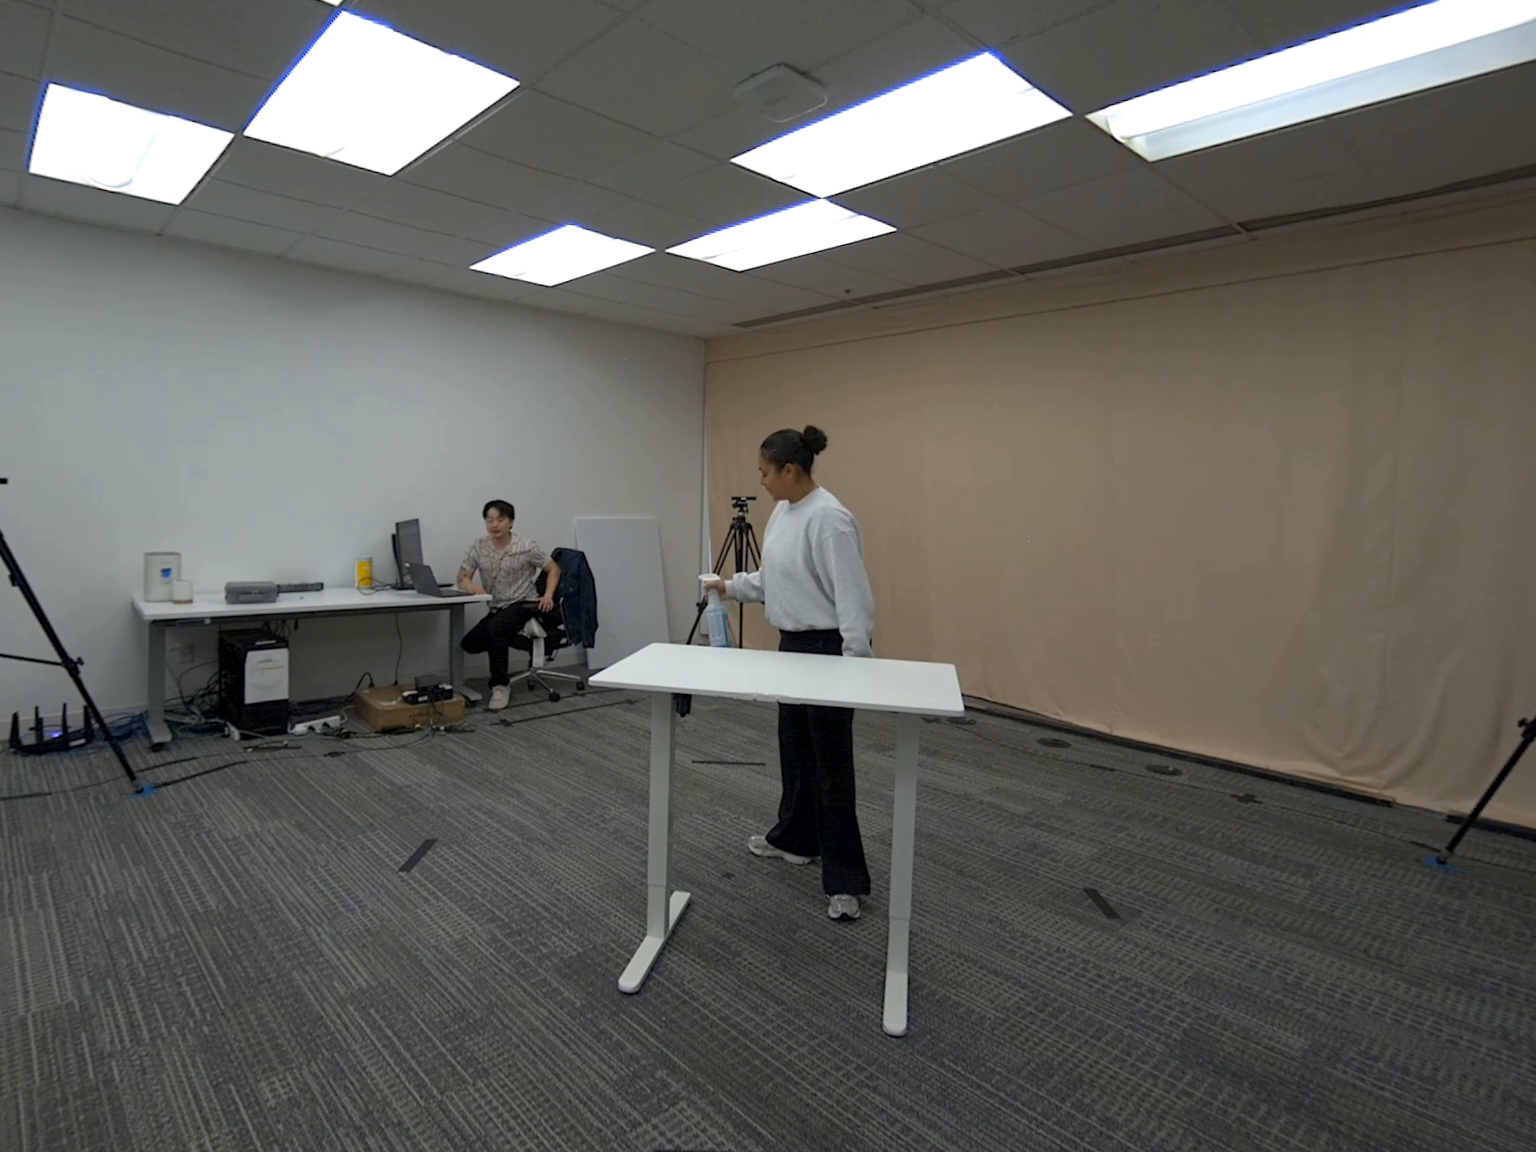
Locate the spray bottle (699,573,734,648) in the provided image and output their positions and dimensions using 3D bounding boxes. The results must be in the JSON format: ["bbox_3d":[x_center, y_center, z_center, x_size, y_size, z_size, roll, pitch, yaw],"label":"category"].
[{"bbox_3d":[-0.208,0.151,3.315,0.085,0.298,0.091,-6,-5,-41],"label":"spray bottle"}]
